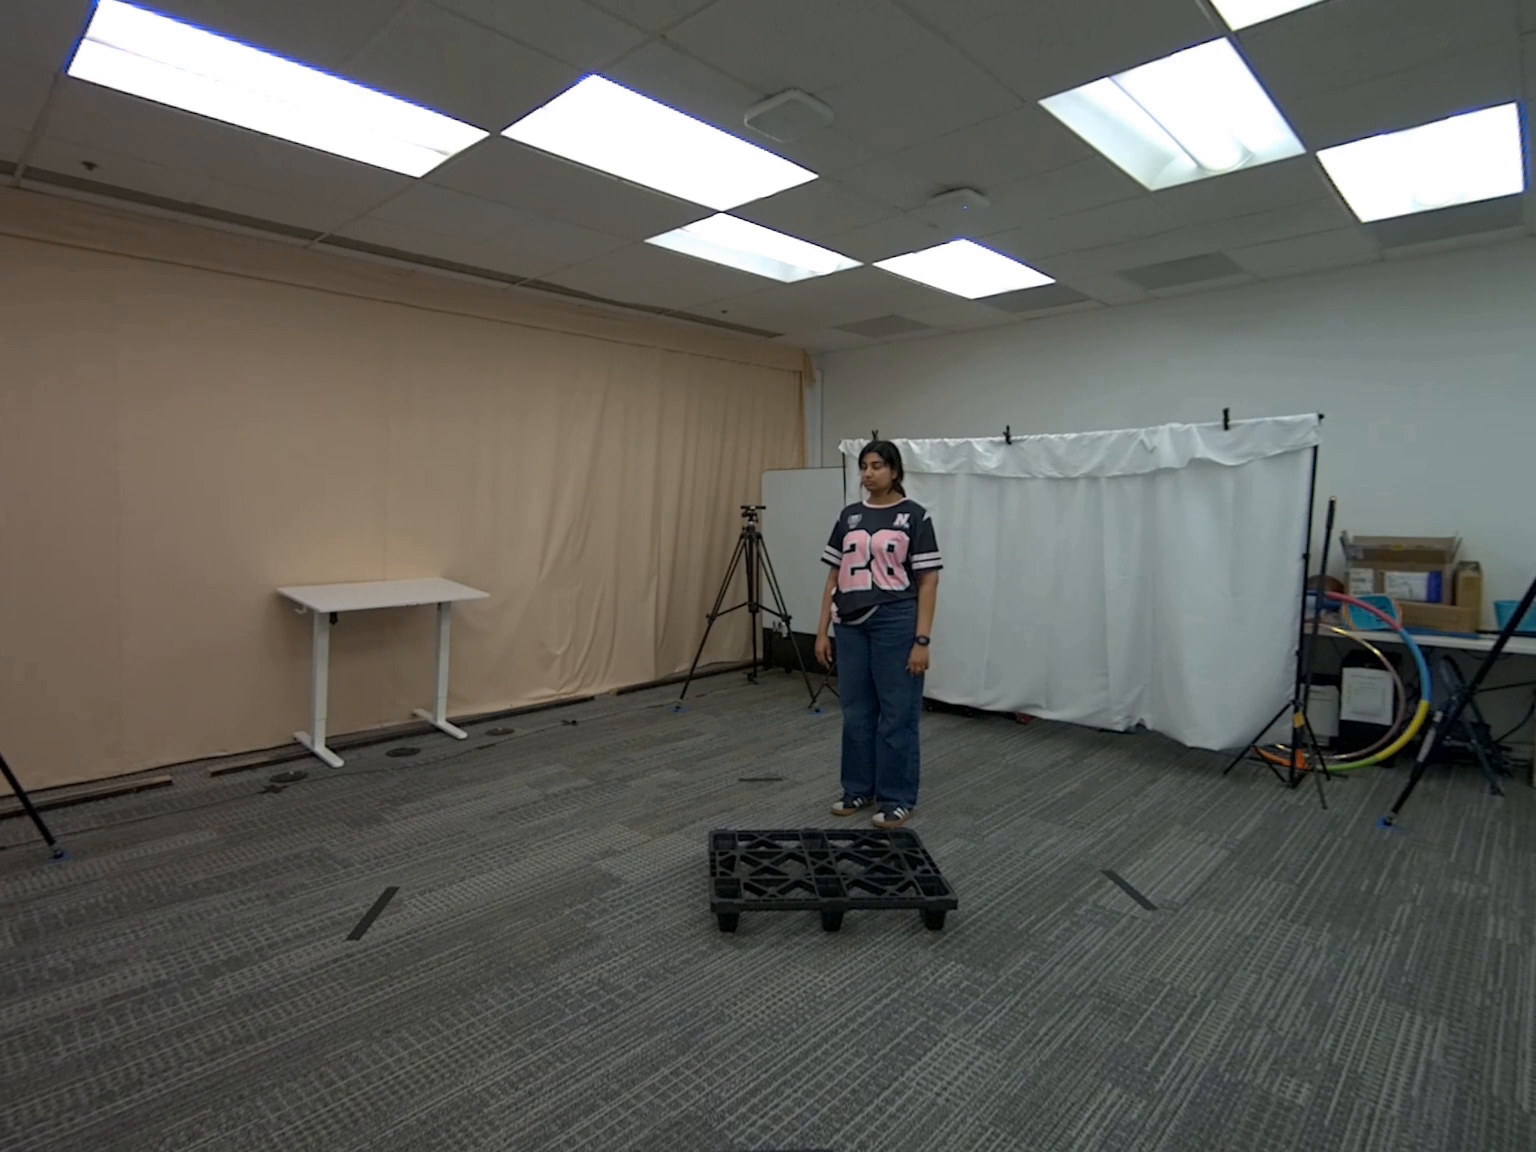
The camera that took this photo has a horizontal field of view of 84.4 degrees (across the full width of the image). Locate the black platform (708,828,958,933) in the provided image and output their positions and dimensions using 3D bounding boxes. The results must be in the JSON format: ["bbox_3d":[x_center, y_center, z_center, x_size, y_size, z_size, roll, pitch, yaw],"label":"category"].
[{"bbox_3d":[0.193,1.075,2.976,0.804,0.143,0.608,-1,5,-2],"label":"black platform"}]
